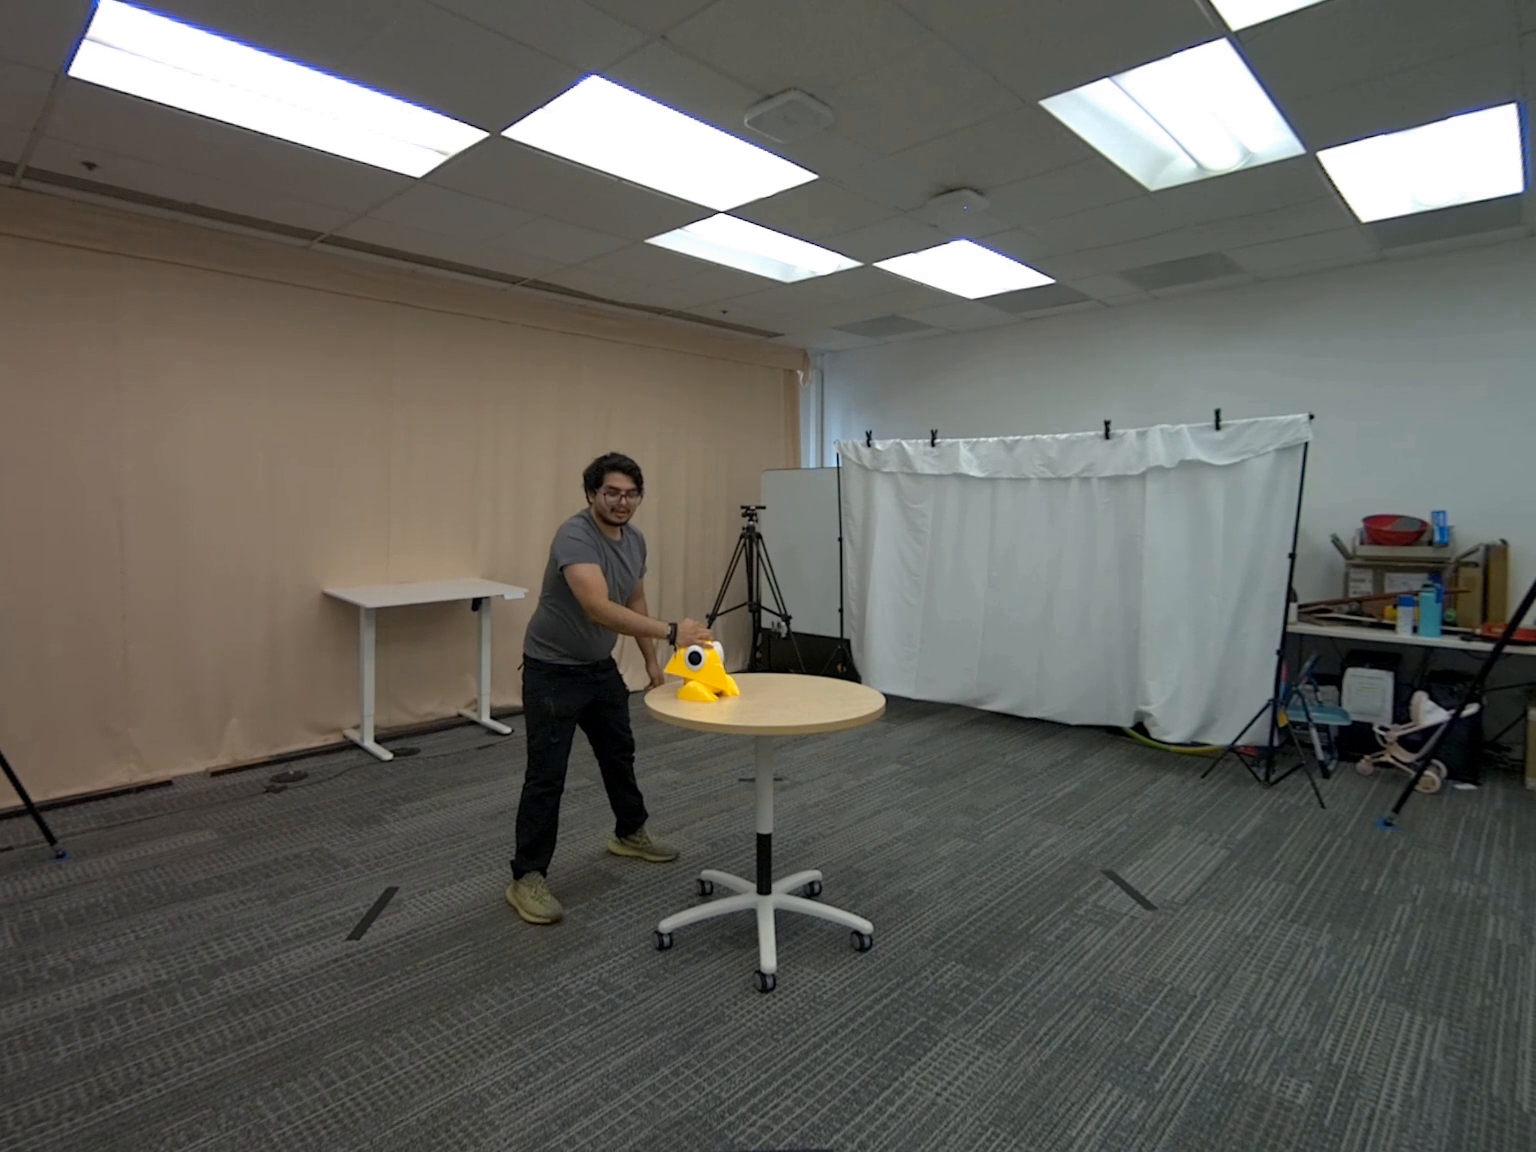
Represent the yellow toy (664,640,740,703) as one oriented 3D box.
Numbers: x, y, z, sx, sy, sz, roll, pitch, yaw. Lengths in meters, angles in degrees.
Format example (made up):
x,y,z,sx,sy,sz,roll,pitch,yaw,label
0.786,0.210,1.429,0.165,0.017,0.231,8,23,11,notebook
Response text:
x,y,z,sx,sy,sz,roll,pitch,yaw,label
-0.200,0.270,2.721,0.199,0.230,0.199,3,4,38,yellow toy
